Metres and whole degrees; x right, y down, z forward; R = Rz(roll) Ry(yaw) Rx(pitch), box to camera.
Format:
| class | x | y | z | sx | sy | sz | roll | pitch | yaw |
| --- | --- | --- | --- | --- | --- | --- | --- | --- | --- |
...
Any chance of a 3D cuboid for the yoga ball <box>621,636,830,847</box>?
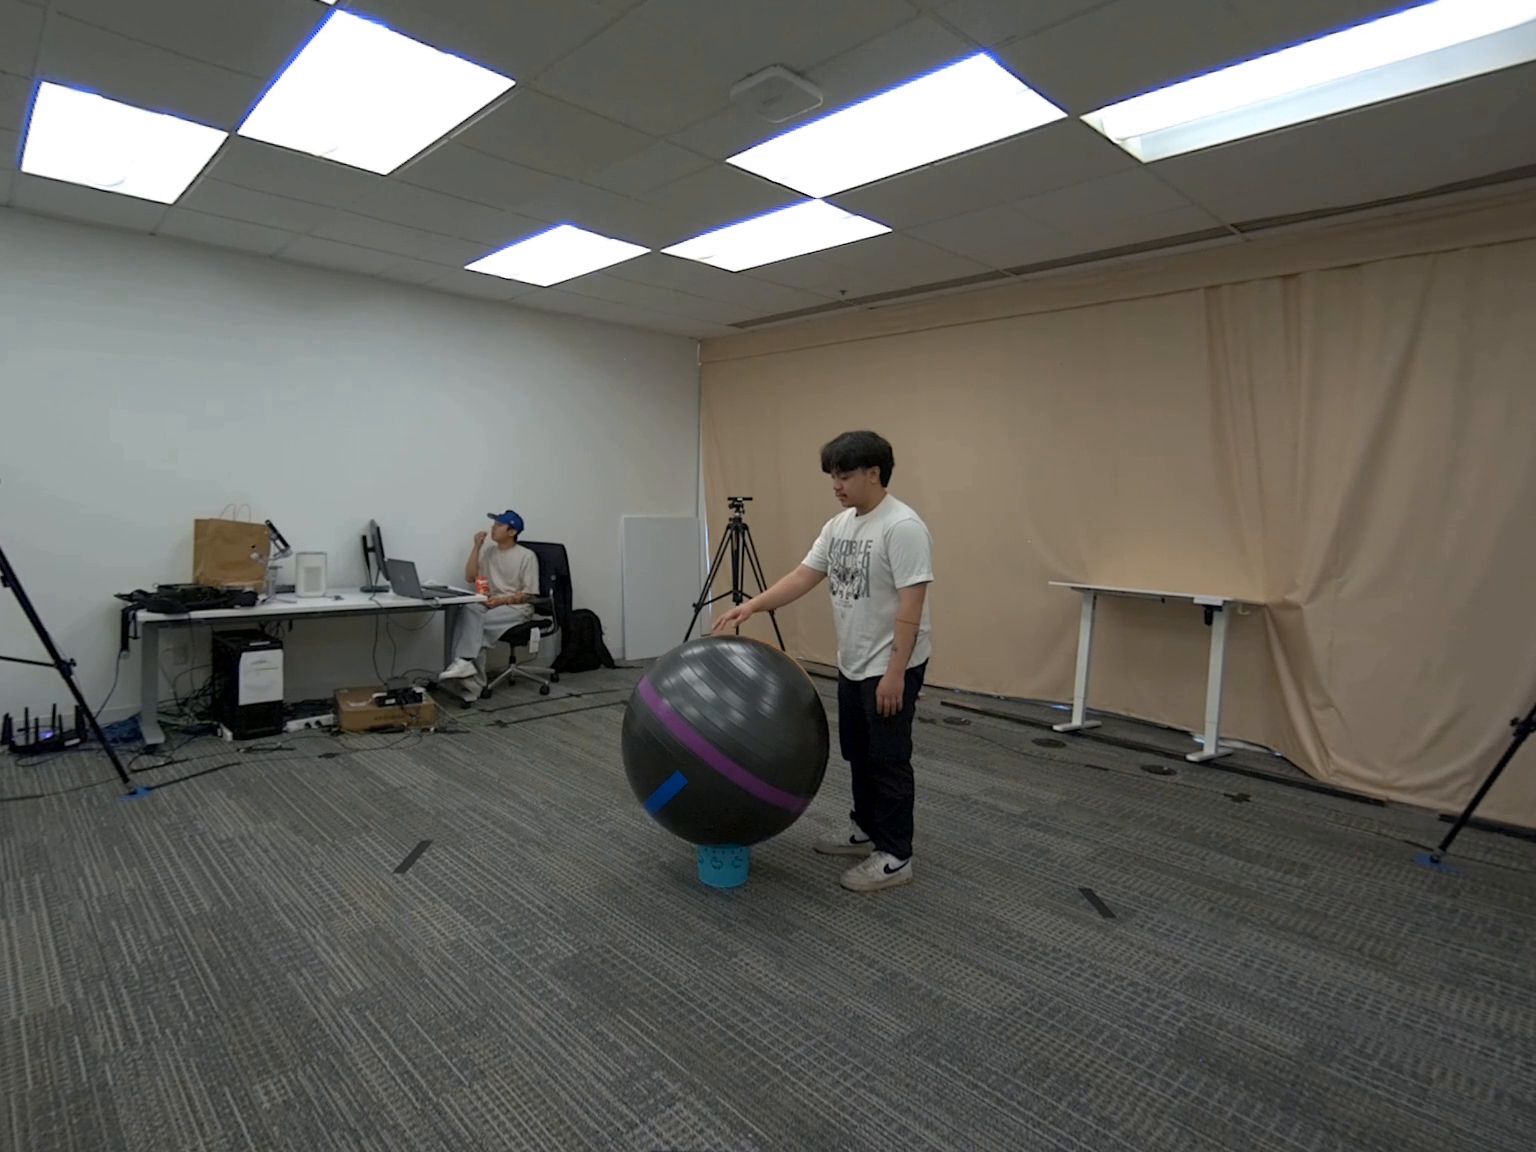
| class | x | y | z | sx | sy | sz | roll | pitch | yaw |
| --- | --- | --- | --- | --- | --- | --- | --- | --- | --- |
| yoga ball | -0.162 | 0.599 | 3.089 | 0.757 | 0.756 | 0.761 | 1 | 4 | -1 |
